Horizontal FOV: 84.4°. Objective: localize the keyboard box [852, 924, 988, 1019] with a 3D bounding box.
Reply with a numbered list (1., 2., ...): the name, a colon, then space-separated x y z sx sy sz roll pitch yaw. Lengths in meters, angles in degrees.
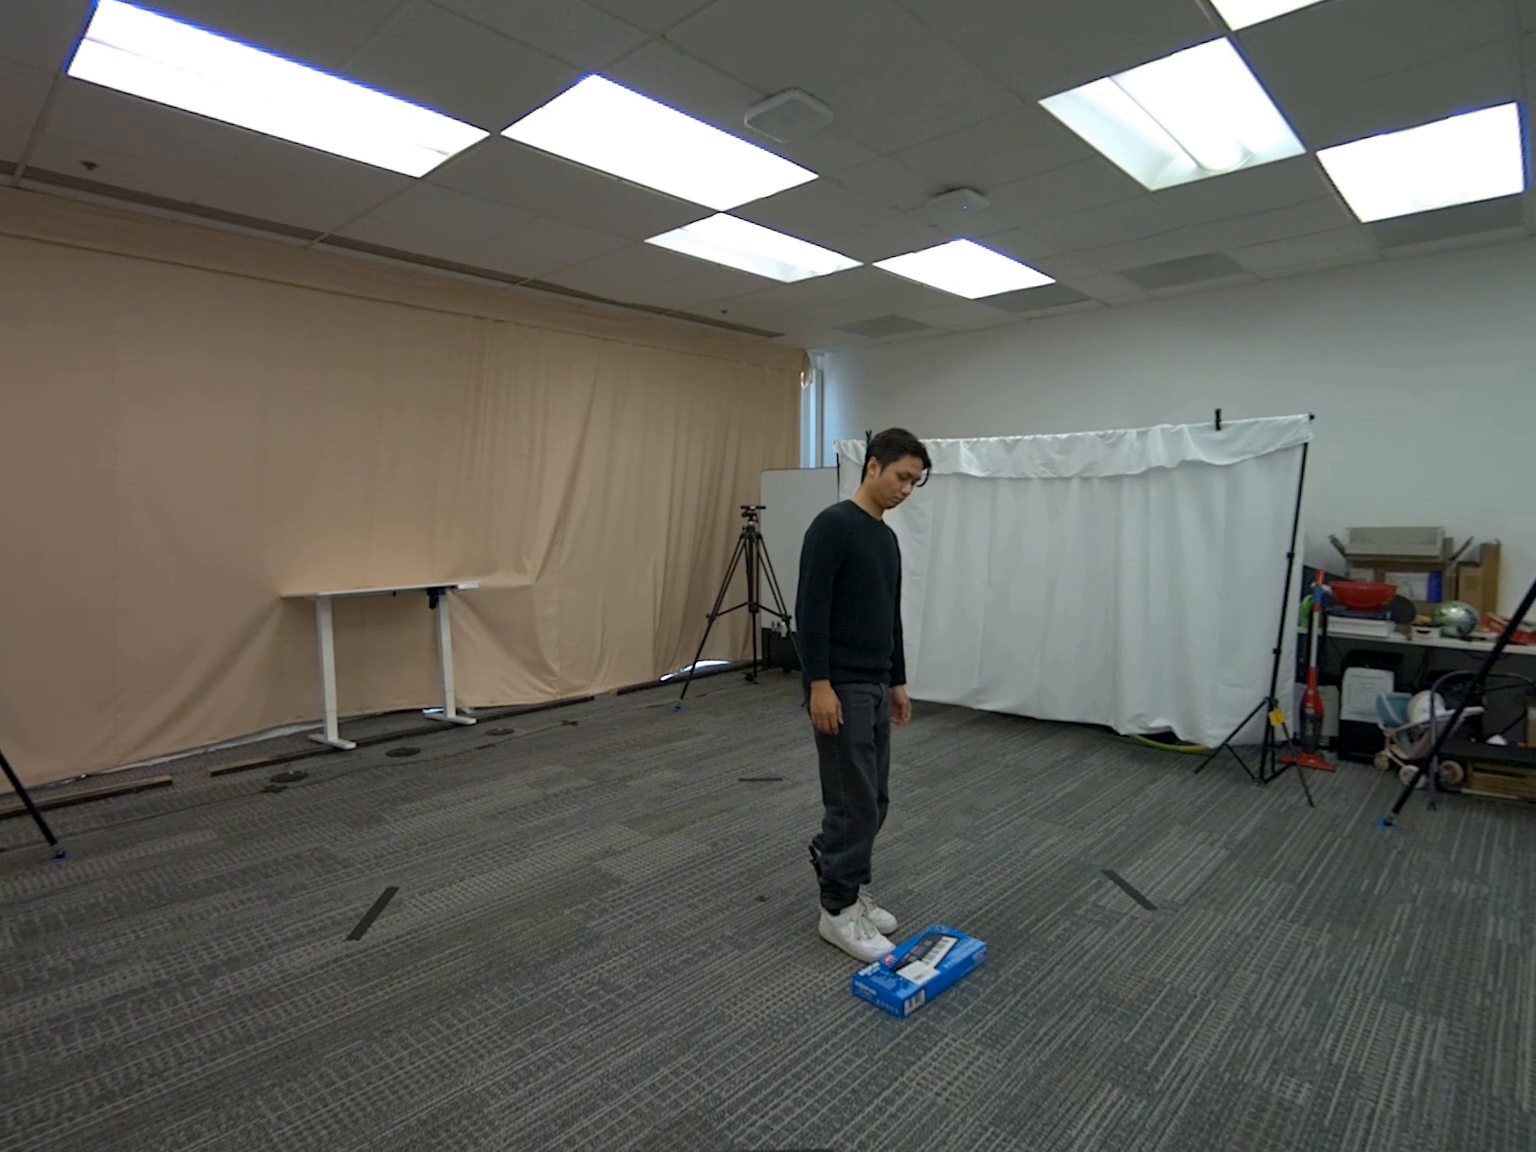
1. keyboard box: 0.465 1.156 2.477 0.423 0.059 0.182 -5 7 -44
